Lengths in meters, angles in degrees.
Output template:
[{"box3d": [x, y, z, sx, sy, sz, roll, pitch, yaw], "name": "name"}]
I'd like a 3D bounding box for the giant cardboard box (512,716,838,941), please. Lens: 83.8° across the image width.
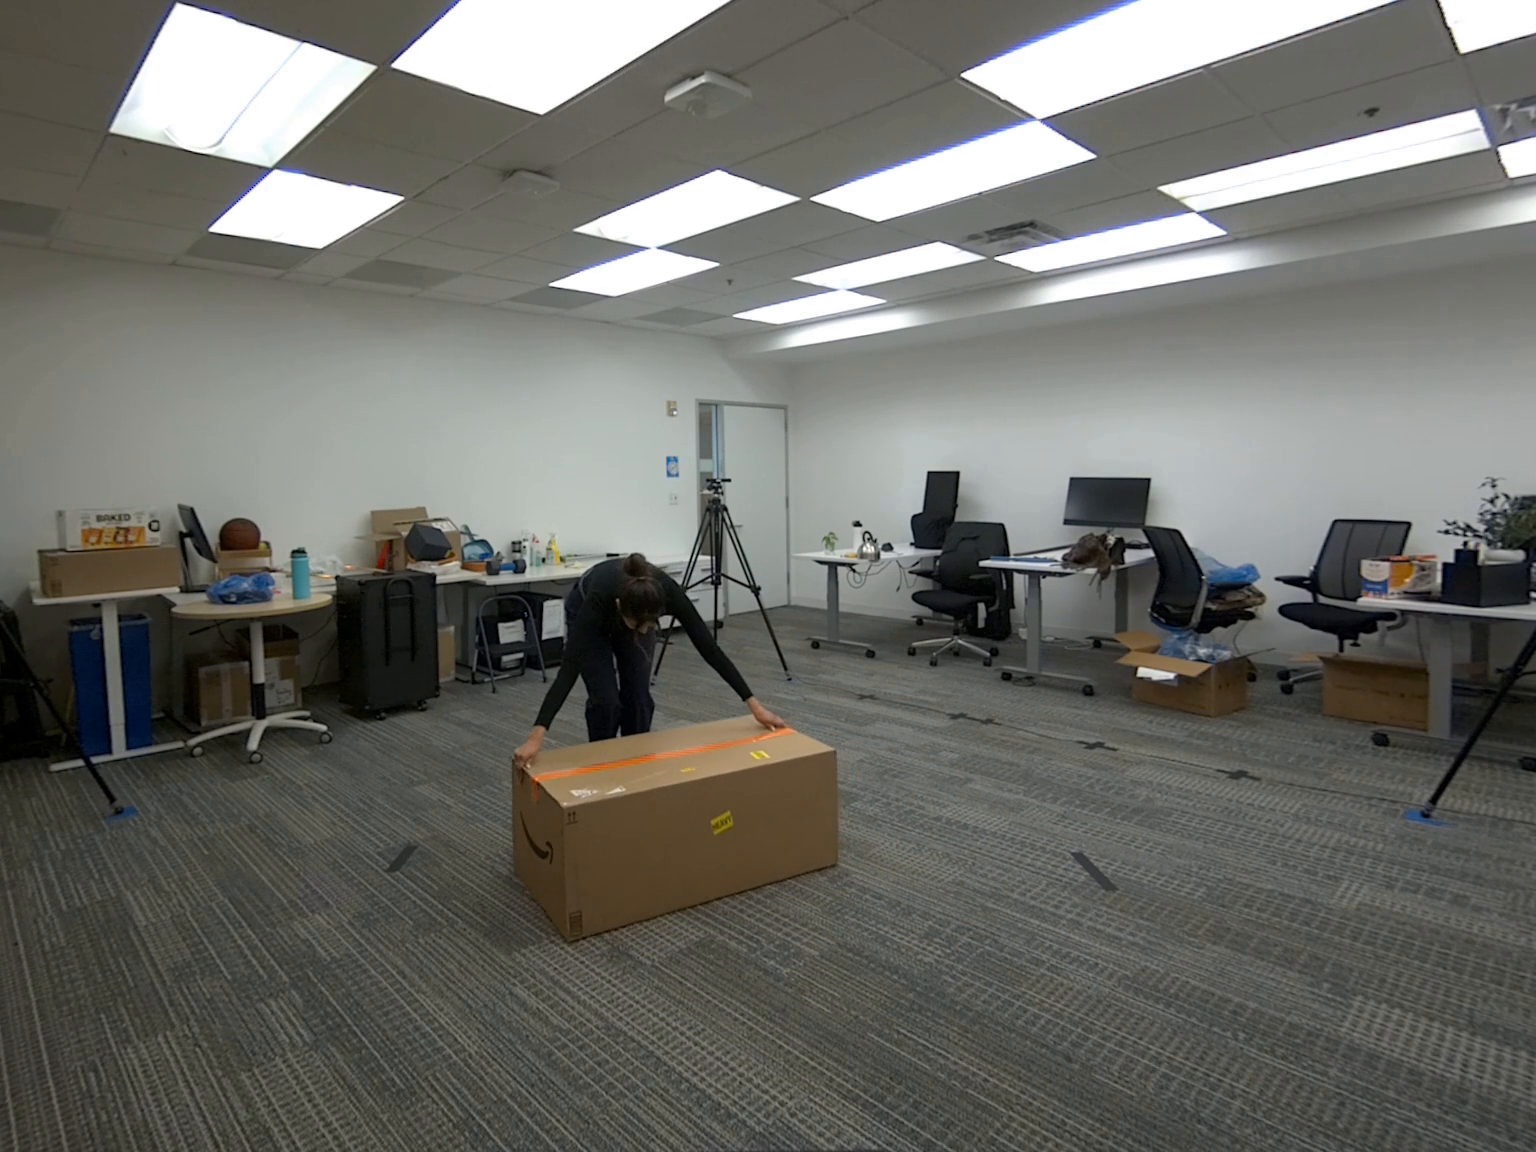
[{"box3d": [-0.334, 0.838, 3.065, 1.002, 0.424, 0.594, -5, 7, -30], "name": "giant cardboard box"}]
